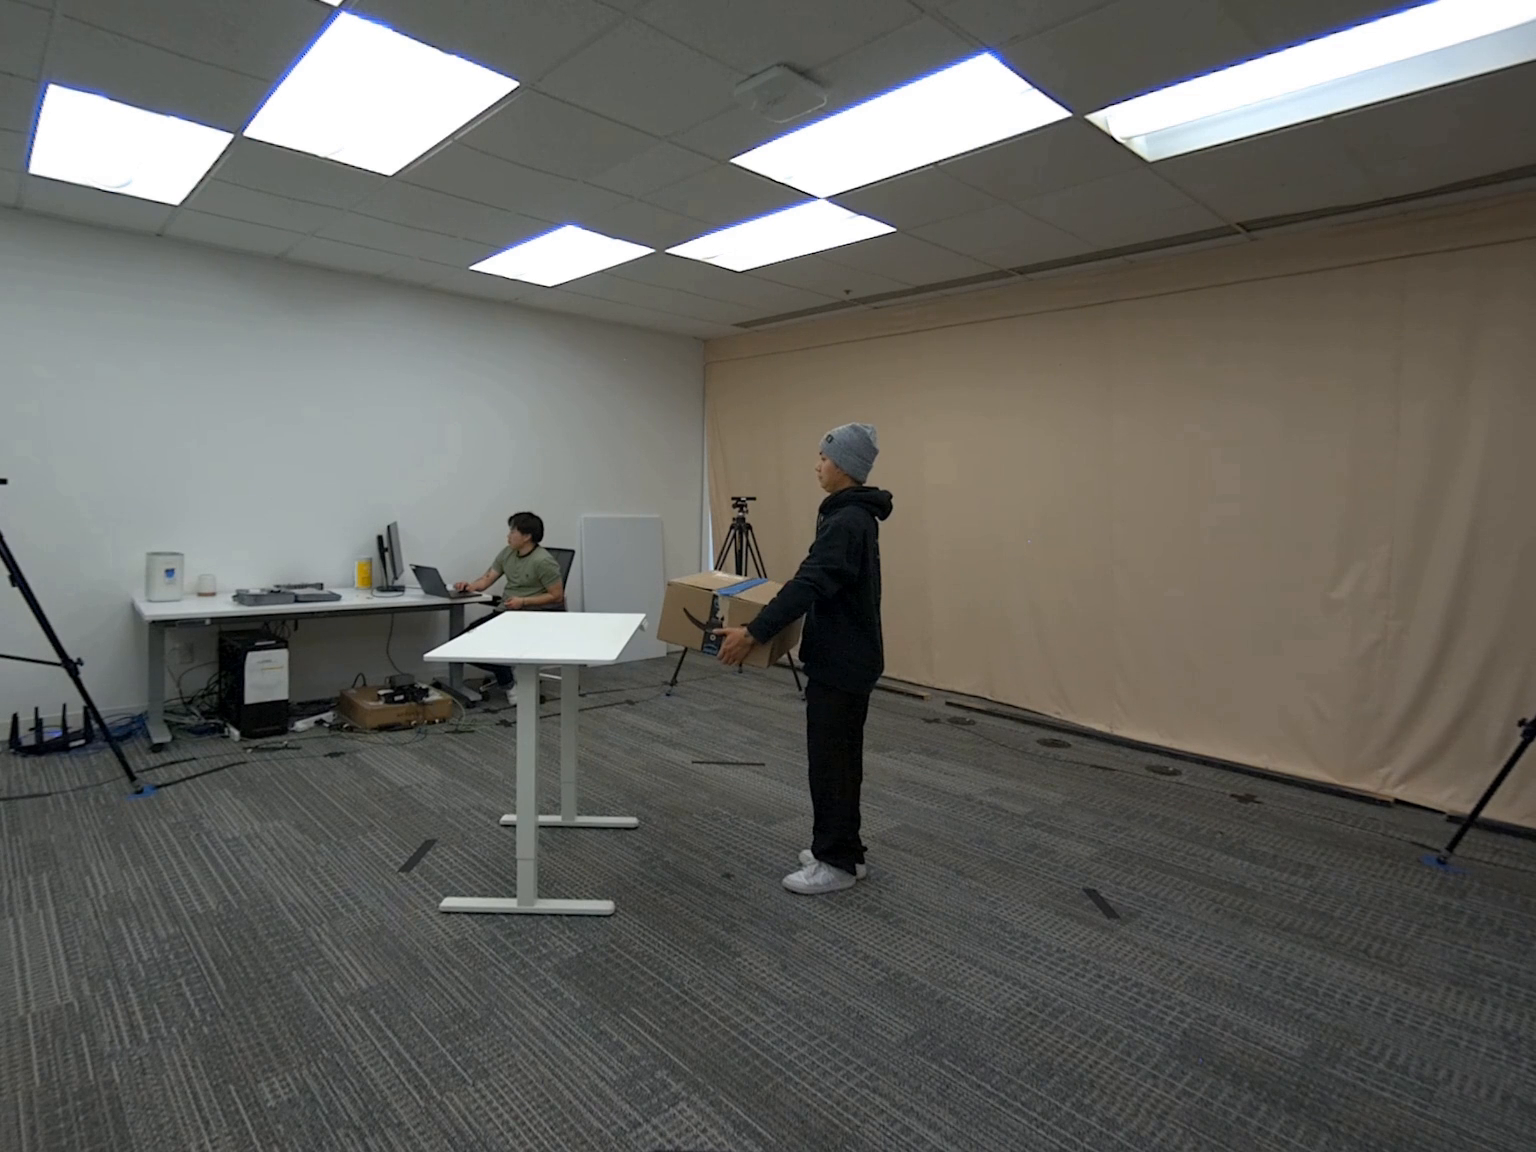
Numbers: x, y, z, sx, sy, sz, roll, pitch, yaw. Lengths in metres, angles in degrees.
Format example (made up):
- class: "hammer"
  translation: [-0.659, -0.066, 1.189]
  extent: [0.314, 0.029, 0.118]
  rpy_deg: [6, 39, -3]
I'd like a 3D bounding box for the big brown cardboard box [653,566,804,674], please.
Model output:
- class: "big brown cardboard box"
  translation: [-0.113, 0.142, 3.182]
  extent: [0.423, 0.232, 0.583]
  rpy_deg: [13, 8, 13]
